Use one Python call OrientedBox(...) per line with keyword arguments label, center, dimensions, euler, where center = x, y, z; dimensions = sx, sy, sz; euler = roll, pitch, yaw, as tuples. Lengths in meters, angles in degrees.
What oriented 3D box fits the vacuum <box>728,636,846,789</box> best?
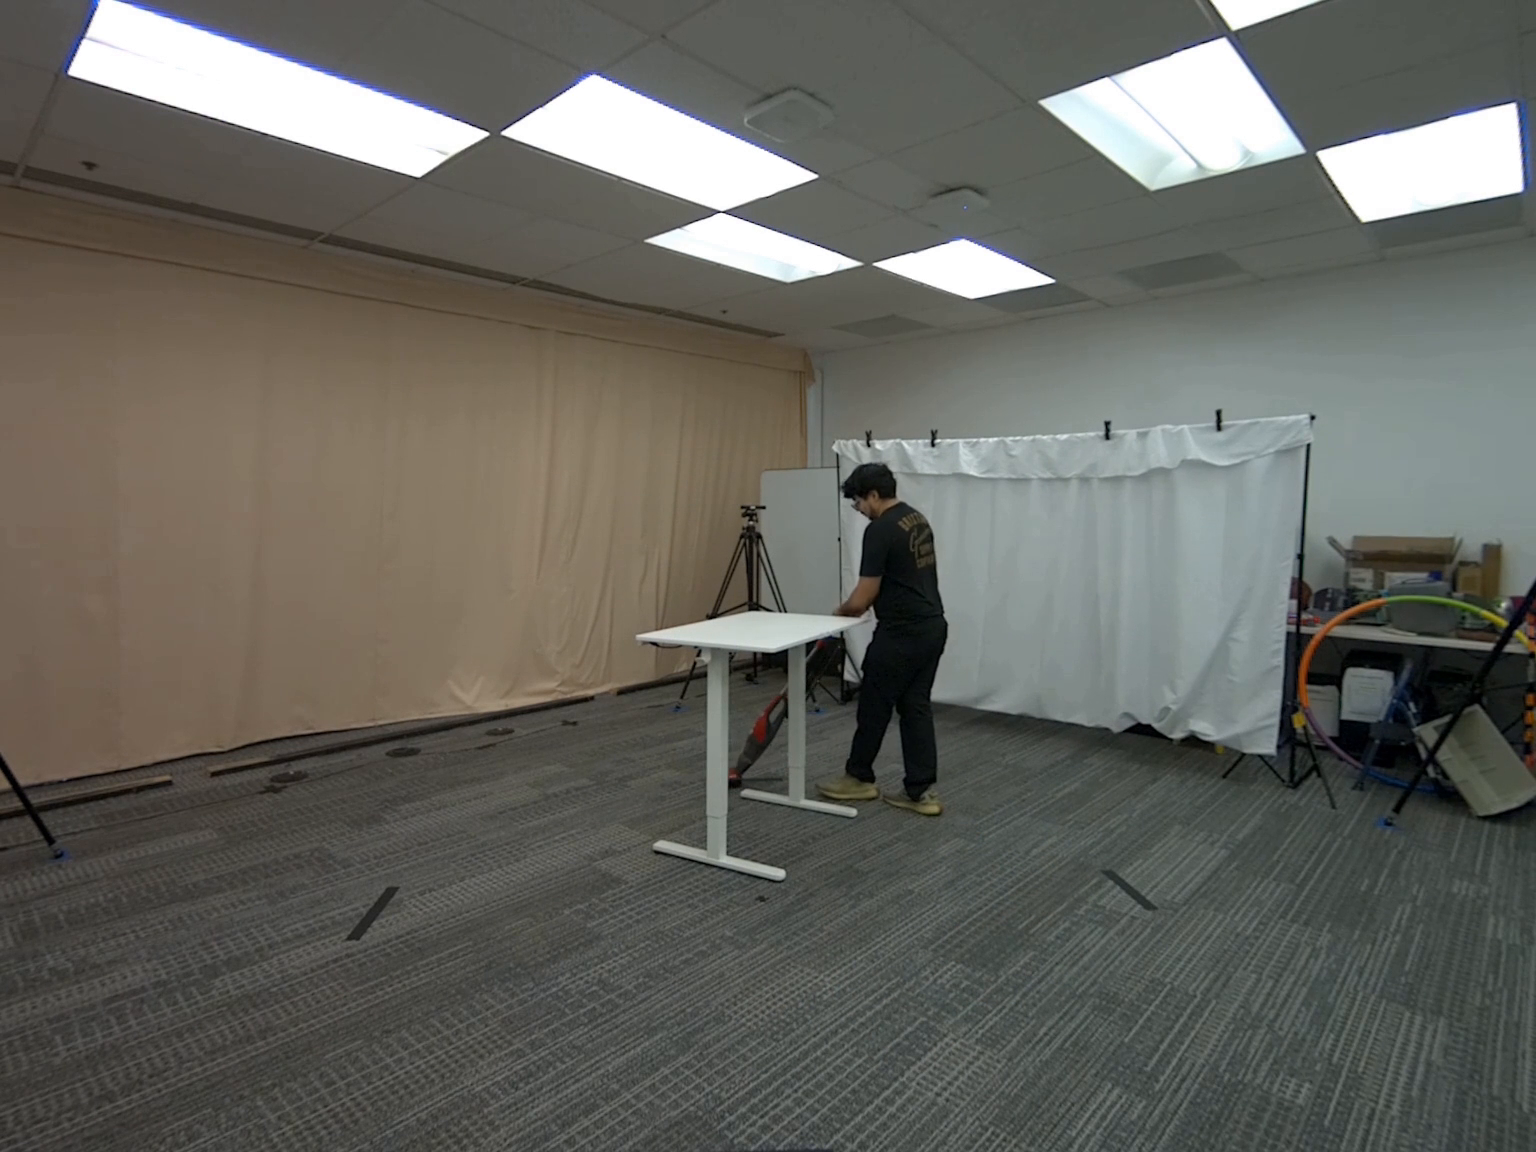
OrientedBox(label="vacuum", center=(0.101, 0.610, 4.173), dimensions=(0.141, 1.050, 0.258), euler=(36, 6, -19))
